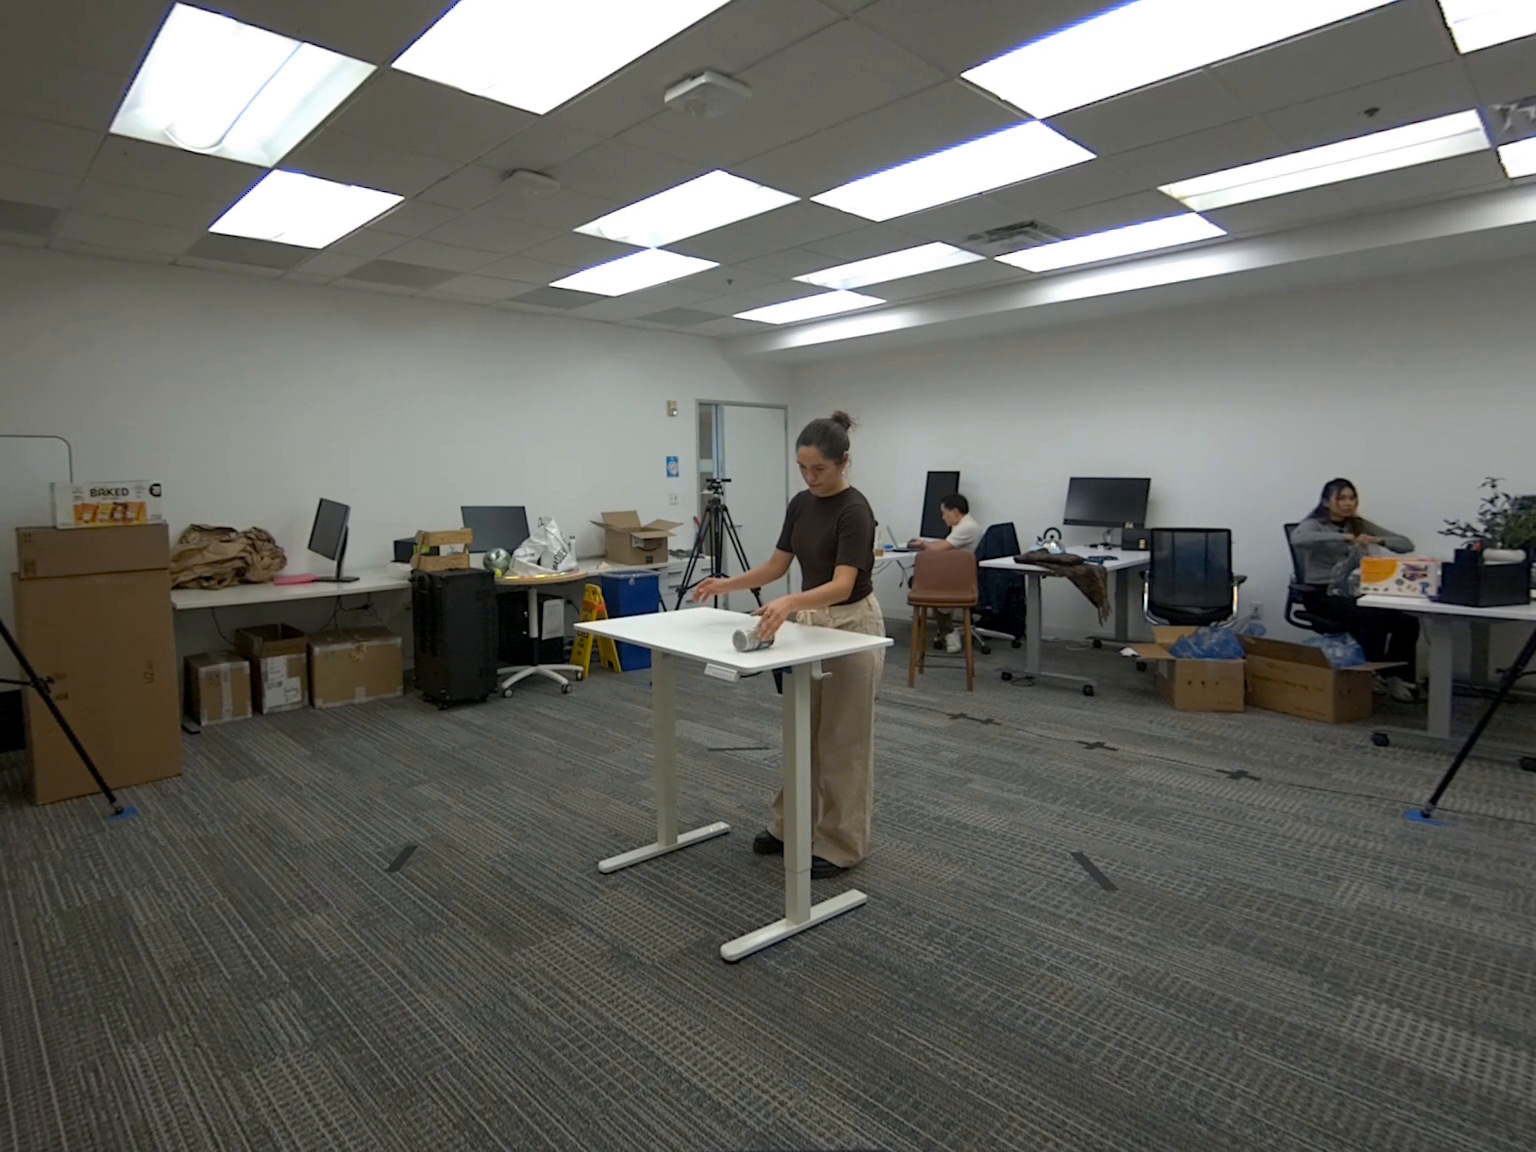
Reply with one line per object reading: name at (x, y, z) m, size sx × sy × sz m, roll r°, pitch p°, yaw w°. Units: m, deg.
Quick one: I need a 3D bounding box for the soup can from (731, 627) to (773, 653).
soup can at (-0.037, 0.191, 2.566) m, size 0.119 × 0.067 × 0.069 m, roll -5°, pitch 6°, yaw -31°
